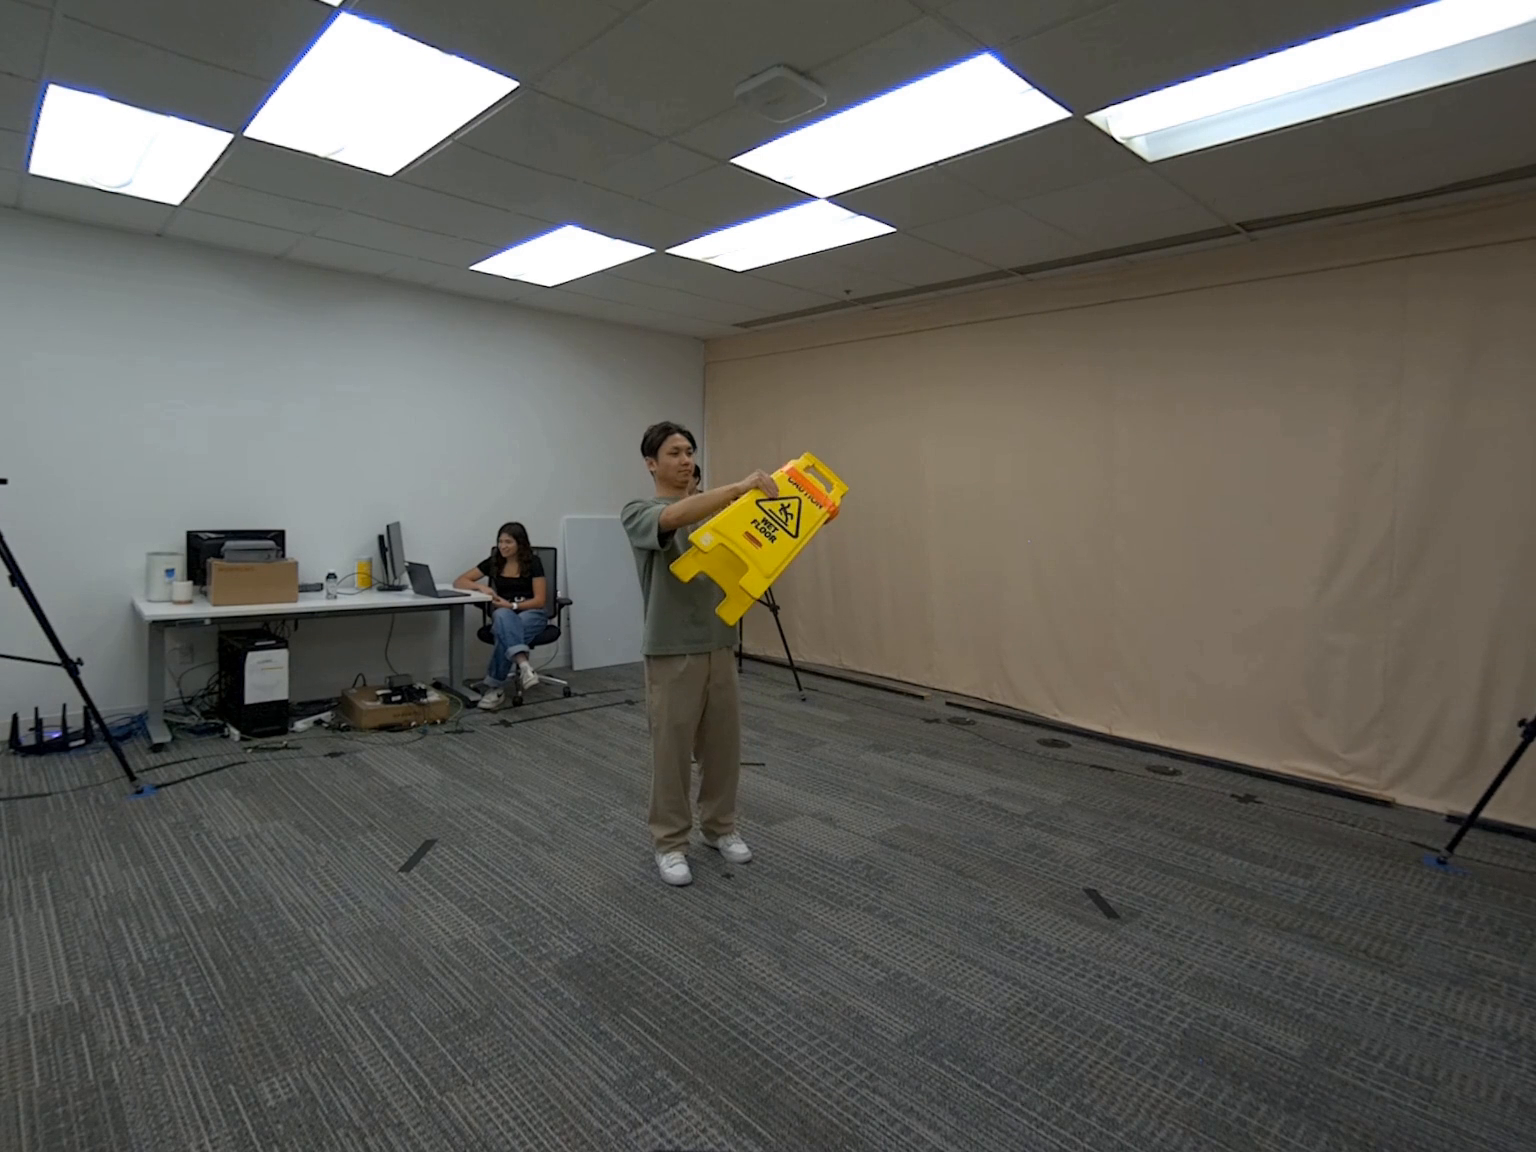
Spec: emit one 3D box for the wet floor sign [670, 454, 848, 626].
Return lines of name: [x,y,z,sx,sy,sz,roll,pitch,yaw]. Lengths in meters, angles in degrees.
wet floor sign: [0.010,-0.172,2.757,0.644,0.285,0.288,-44,-8,-32]
